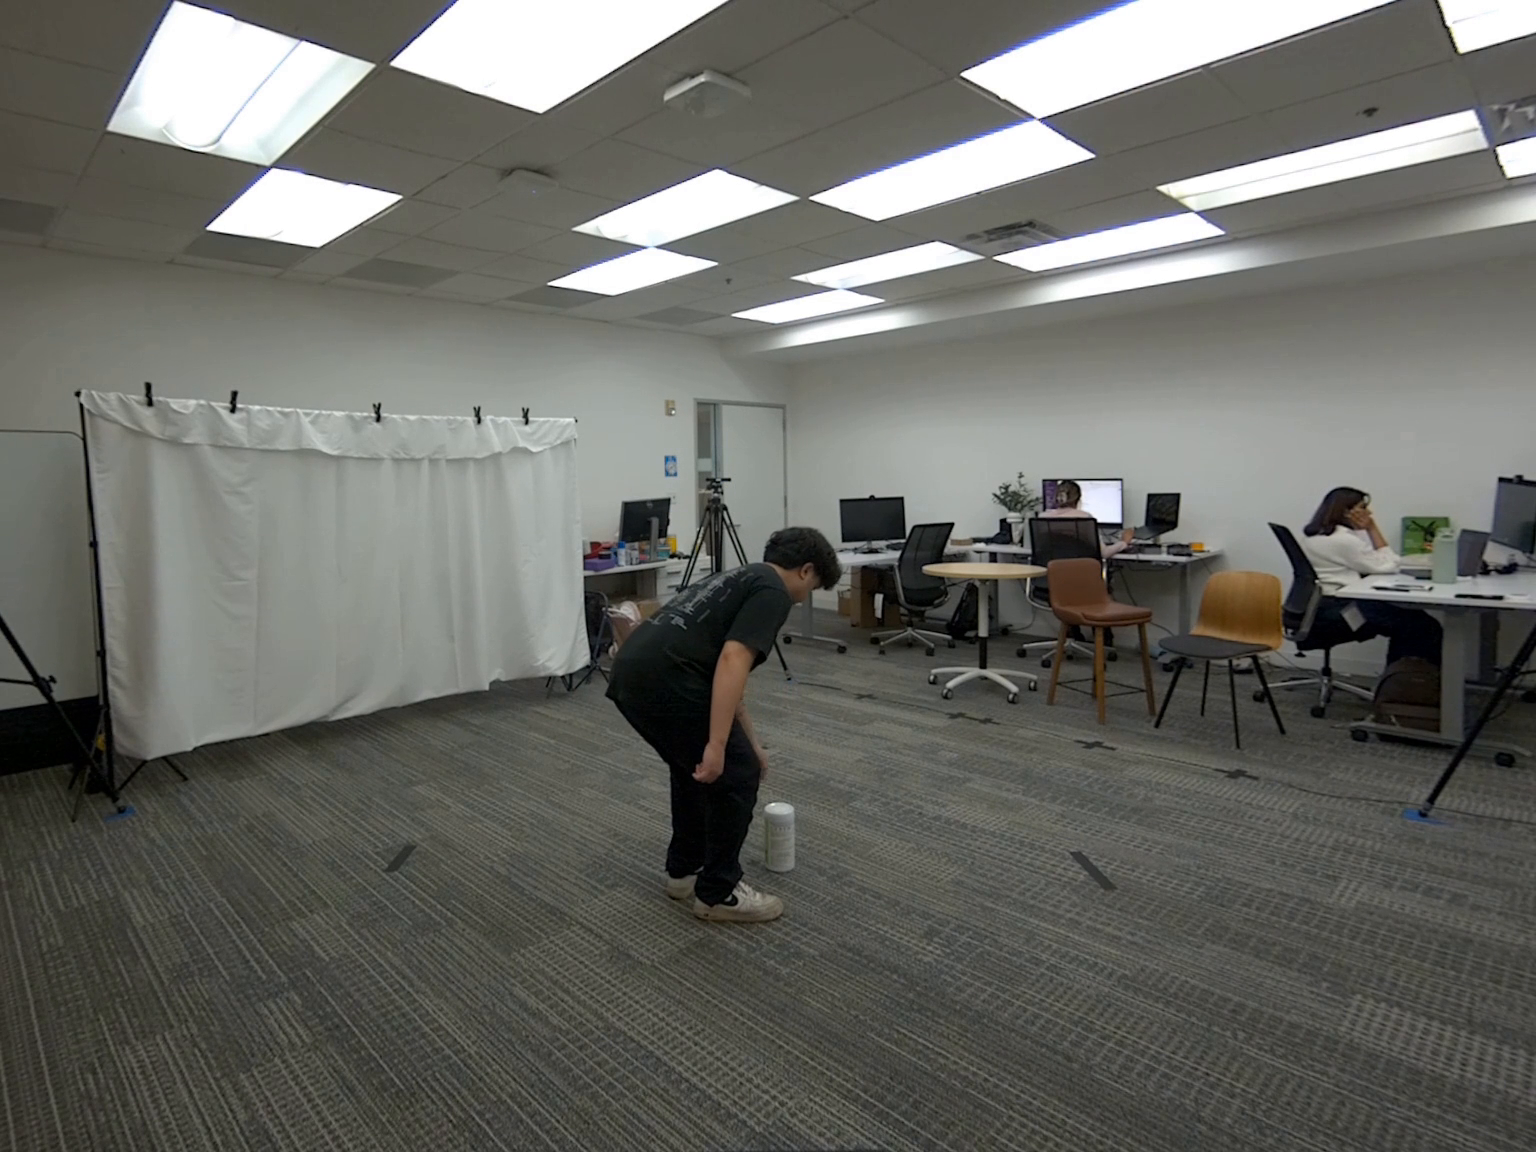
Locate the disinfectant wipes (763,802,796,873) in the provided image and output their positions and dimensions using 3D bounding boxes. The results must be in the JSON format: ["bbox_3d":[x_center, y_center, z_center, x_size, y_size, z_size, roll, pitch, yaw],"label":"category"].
[{"bbox_3d":[0.046,0.940,3.069,0.118,0.217,0.118,-2,4,-2],"label":"disinfectant wipes"}]
